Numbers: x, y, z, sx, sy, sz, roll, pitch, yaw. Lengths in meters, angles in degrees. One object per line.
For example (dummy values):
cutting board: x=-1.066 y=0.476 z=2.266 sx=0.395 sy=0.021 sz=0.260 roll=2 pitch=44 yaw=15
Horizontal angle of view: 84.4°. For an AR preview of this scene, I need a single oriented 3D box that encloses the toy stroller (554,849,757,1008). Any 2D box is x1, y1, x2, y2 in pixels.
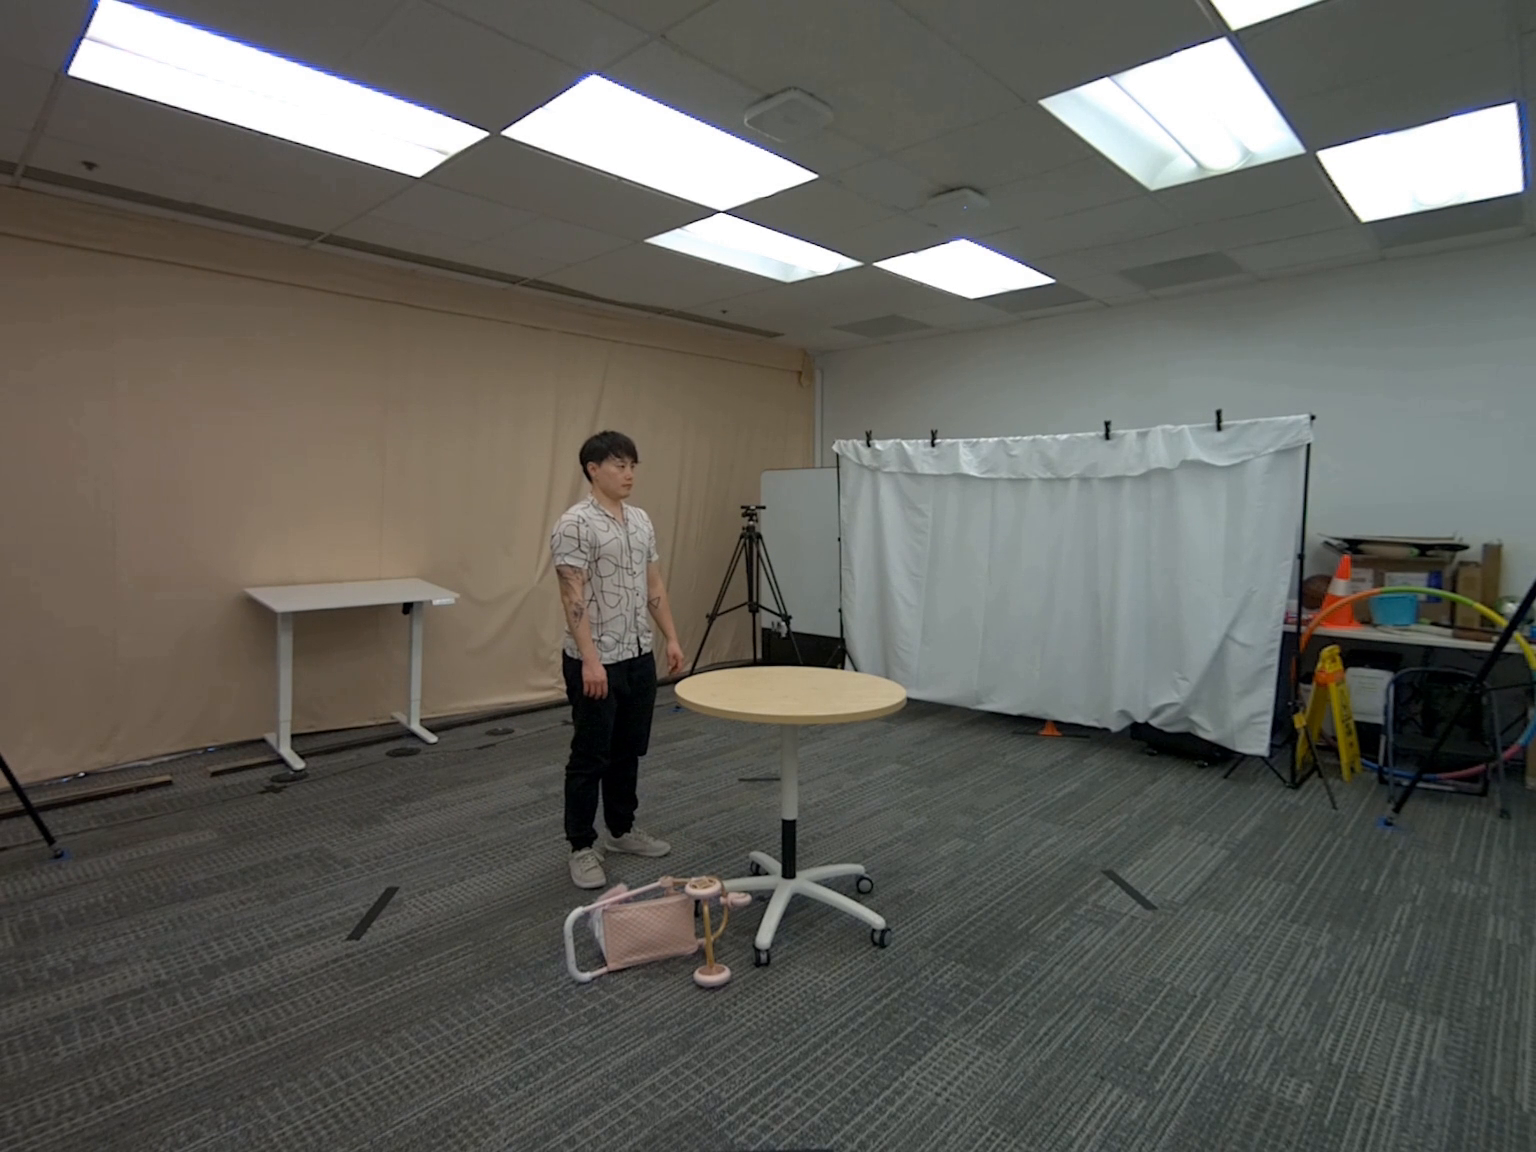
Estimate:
toy stroller: x=-0.328 y=1.060 z=2.583 sx=0.538 sy=0.281 sz=0.340 roll=-7 pitch=1 yaw=4
